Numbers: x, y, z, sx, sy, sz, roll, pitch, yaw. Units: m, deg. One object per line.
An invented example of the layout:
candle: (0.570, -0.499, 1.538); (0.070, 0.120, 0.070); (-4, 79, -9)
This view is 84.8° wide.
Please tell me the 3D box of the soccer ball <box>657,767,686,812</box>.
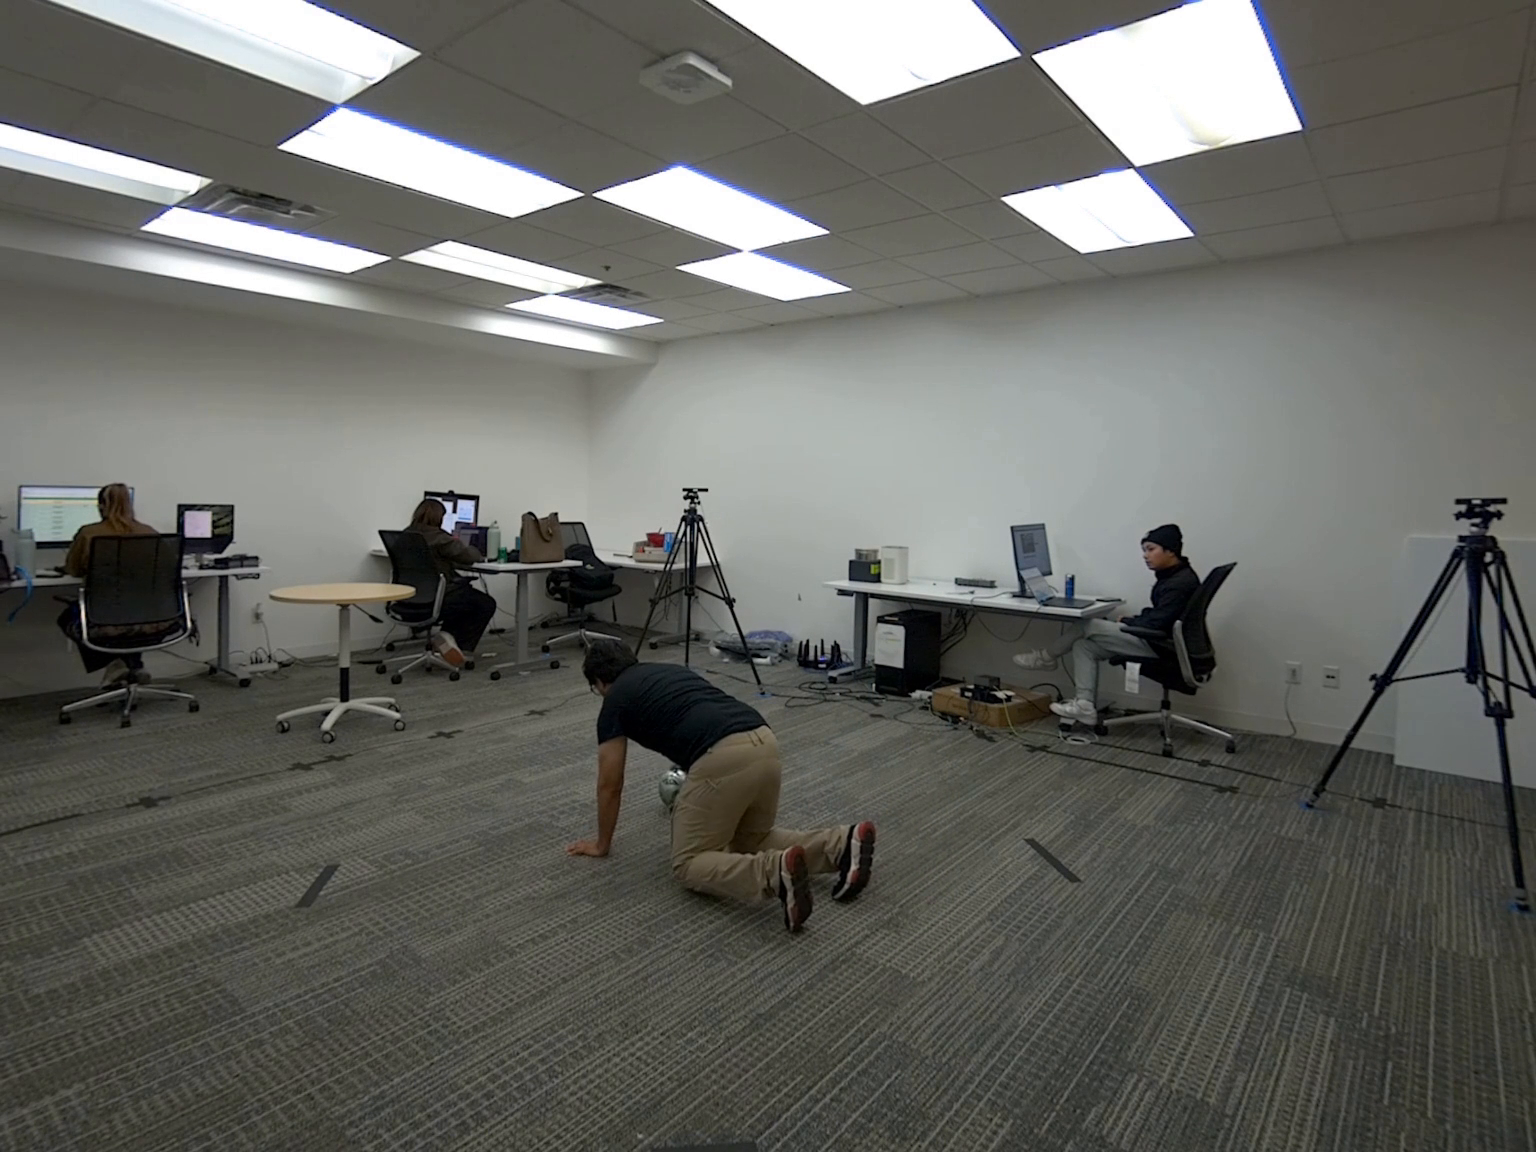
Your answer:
soccer ball: (-0.395, 0.910, 3.682); (0.187, 0.187, 0.188); (1, 4, -2)
